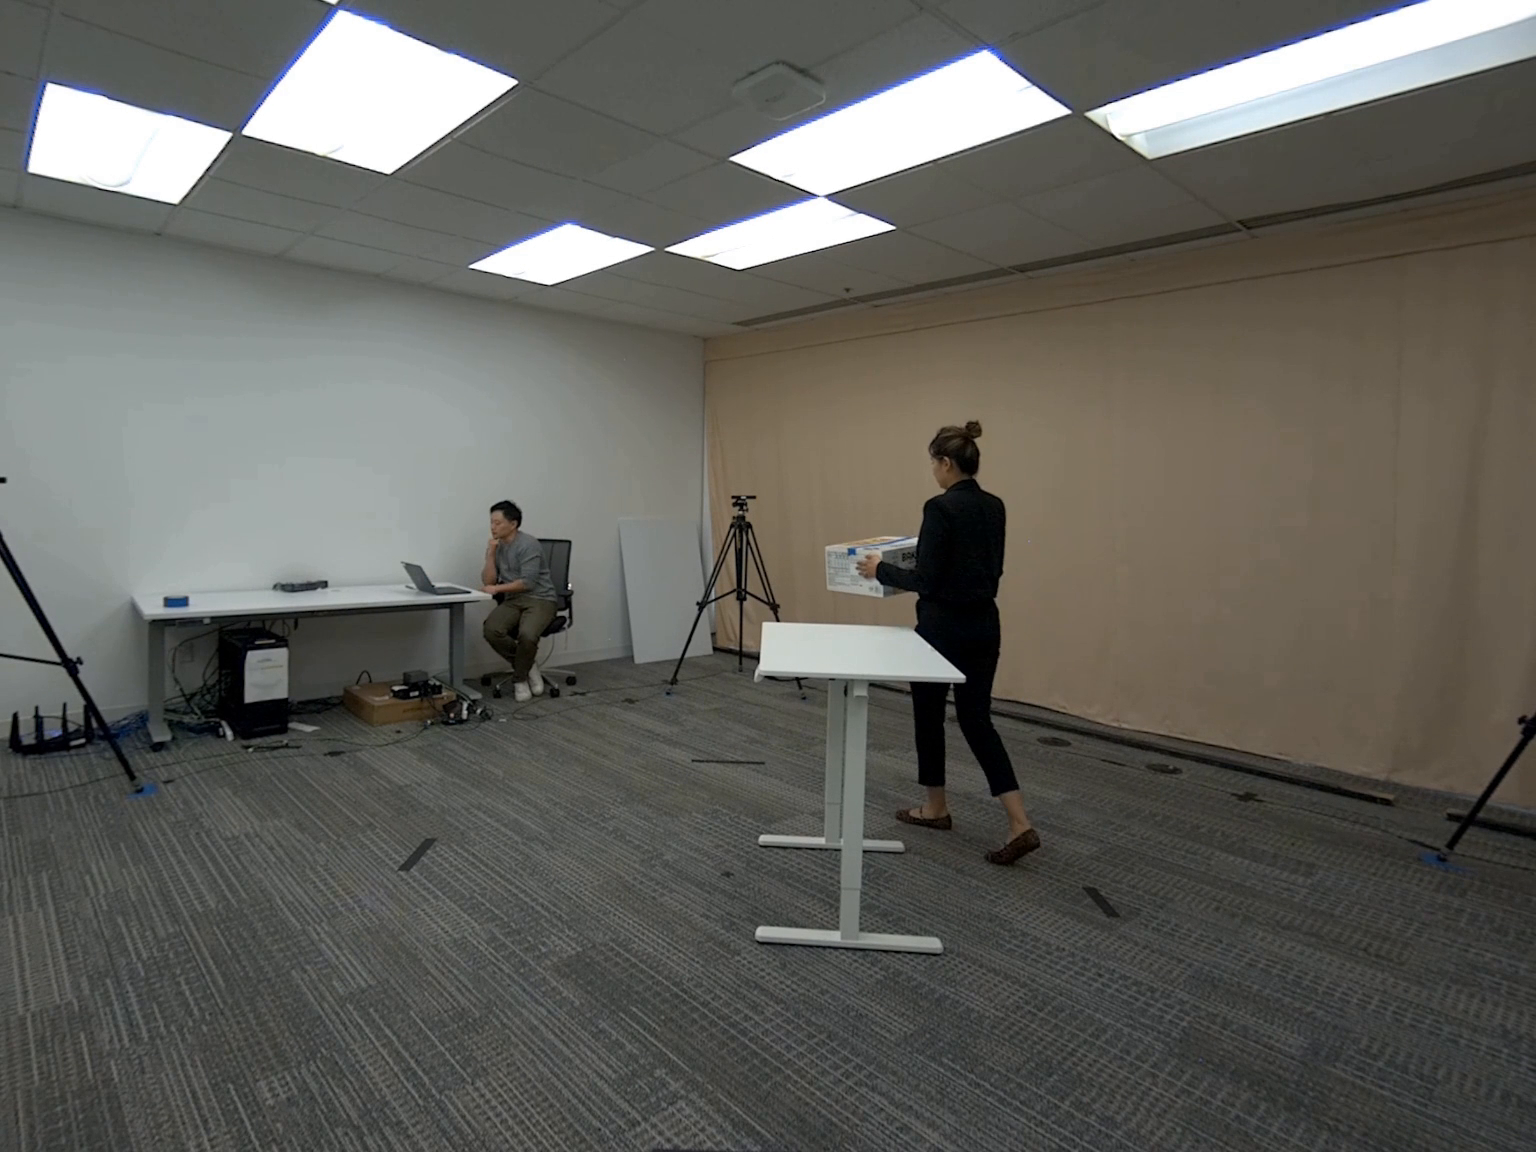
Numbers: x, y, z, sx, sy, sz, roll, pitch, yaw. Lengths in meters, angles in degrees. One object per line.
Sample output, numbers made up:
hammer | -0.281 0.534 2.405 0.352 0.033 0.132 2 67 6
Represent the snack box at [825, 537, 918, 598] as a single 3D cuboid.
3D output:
snack box | 0.516 -0.050 3.772 0.397 0.204 0.349 -10 11 -39
